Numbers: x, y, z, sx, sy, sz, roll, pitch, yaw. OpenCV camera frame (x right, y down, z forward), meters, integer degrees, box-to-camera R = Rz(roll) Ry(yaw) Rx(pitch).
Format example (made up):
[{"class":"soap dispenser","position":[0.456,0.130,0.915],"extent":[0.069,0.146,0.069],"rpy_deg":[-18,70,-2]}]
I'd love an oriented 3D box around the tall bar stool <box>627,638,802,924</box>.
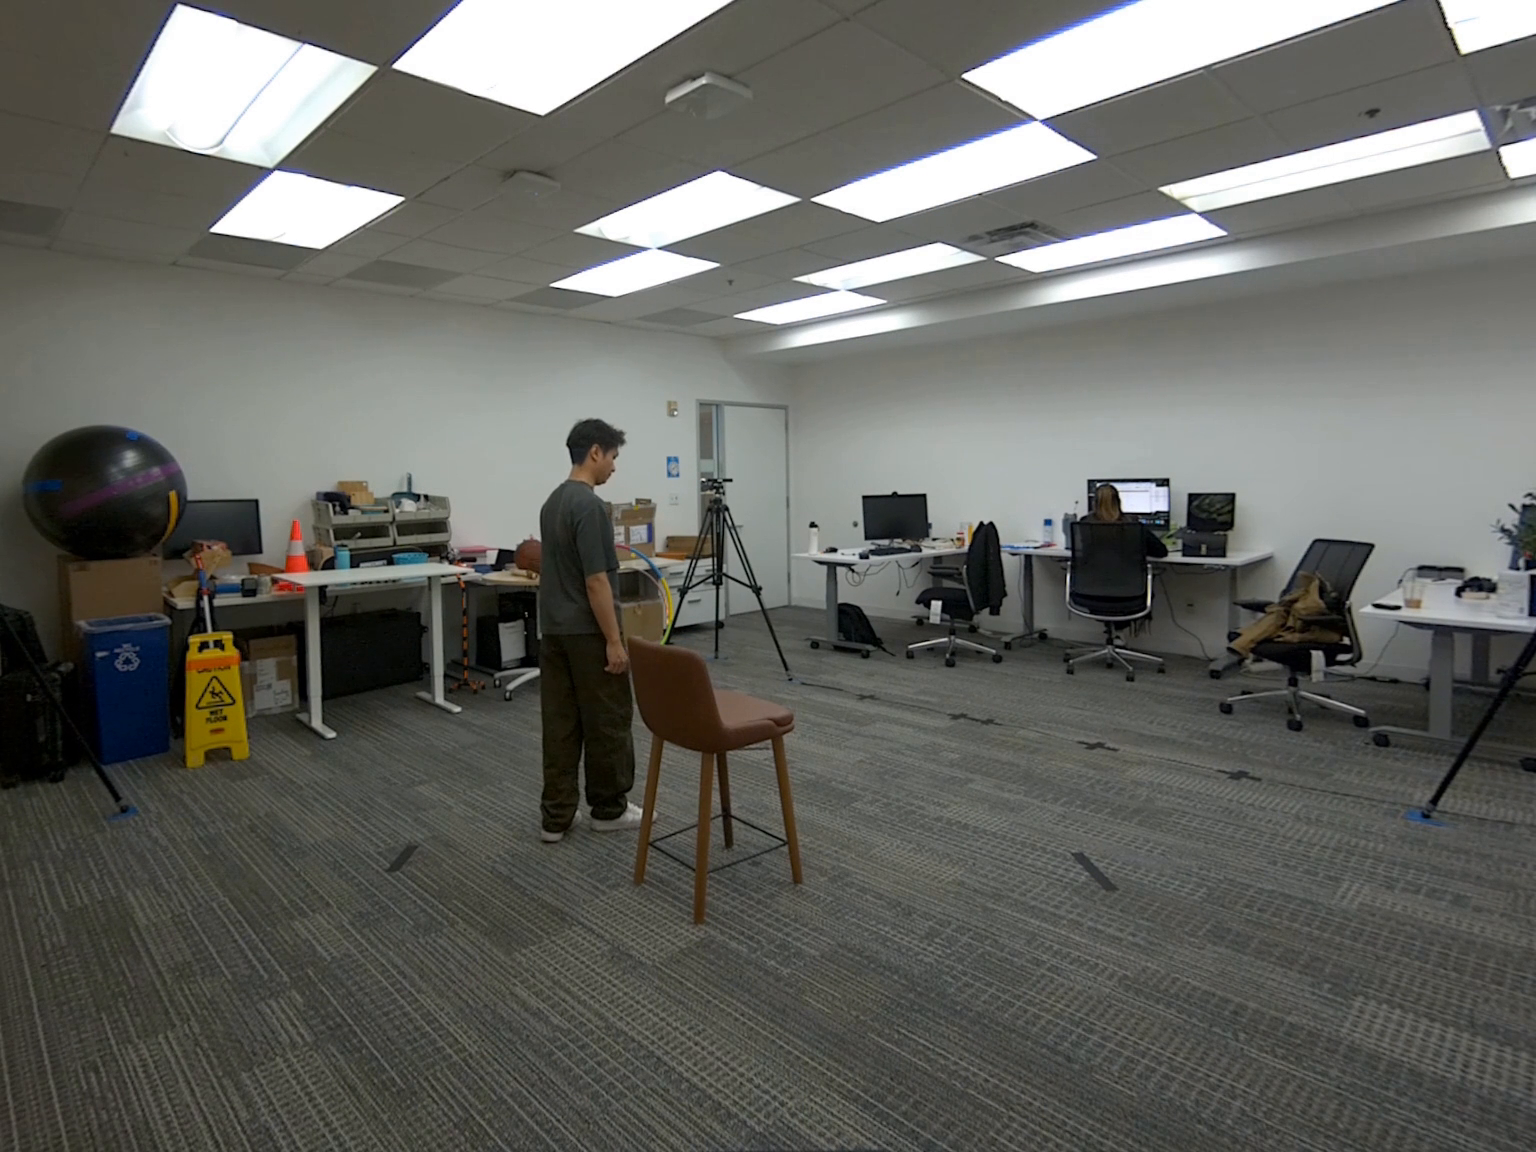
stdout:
[{"class":"tall bar stool","position":[-0.187,0.631,2.936],"extent":[0.456,0.885,0.470],"rpy_deg":[-7,7,-40]}]
